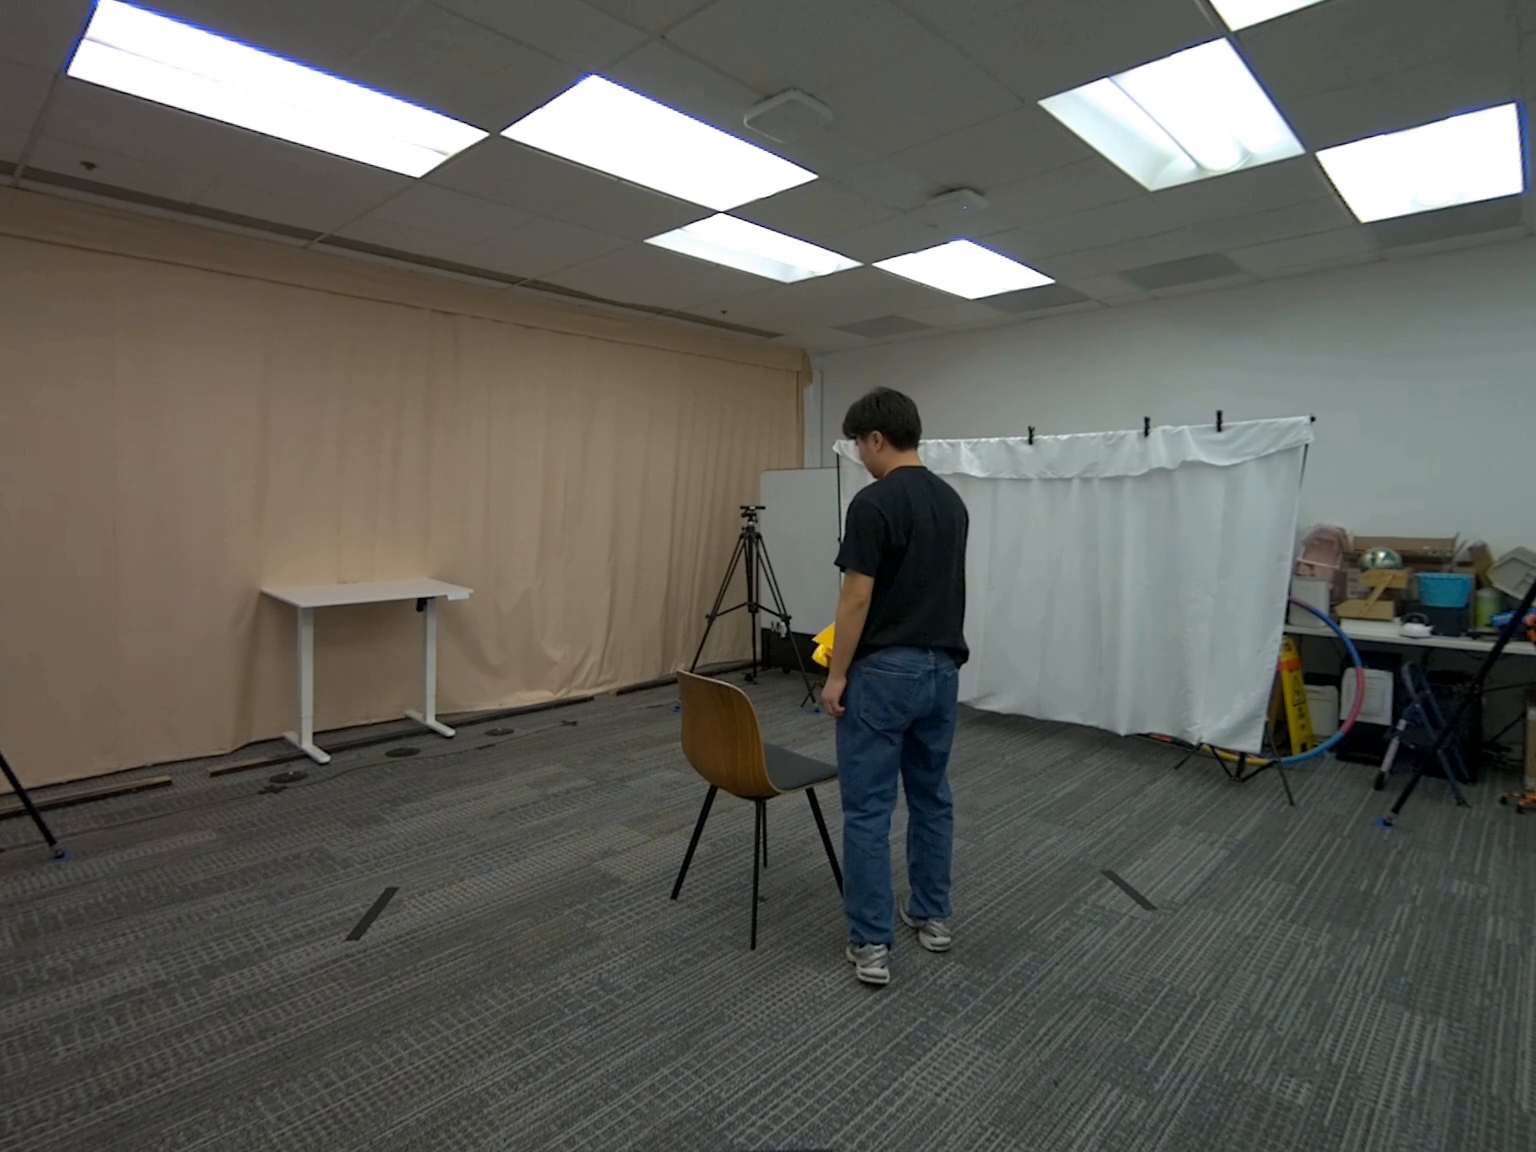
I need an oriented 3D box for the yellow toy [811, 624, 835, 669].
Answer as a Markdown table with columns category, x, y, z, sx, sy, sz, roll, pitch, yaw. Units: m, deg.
| category | x | y | z | sx | sy | sz | roll | pitch | yaw |
| --- | --- | --- | --- | --- | --- | --- | --- | --- | --- |
| yellow toy | 0.311 | 0.242 | 3.144 | 0.210 | 0.230 | 0.188 | 24 | 15 | 22 |
